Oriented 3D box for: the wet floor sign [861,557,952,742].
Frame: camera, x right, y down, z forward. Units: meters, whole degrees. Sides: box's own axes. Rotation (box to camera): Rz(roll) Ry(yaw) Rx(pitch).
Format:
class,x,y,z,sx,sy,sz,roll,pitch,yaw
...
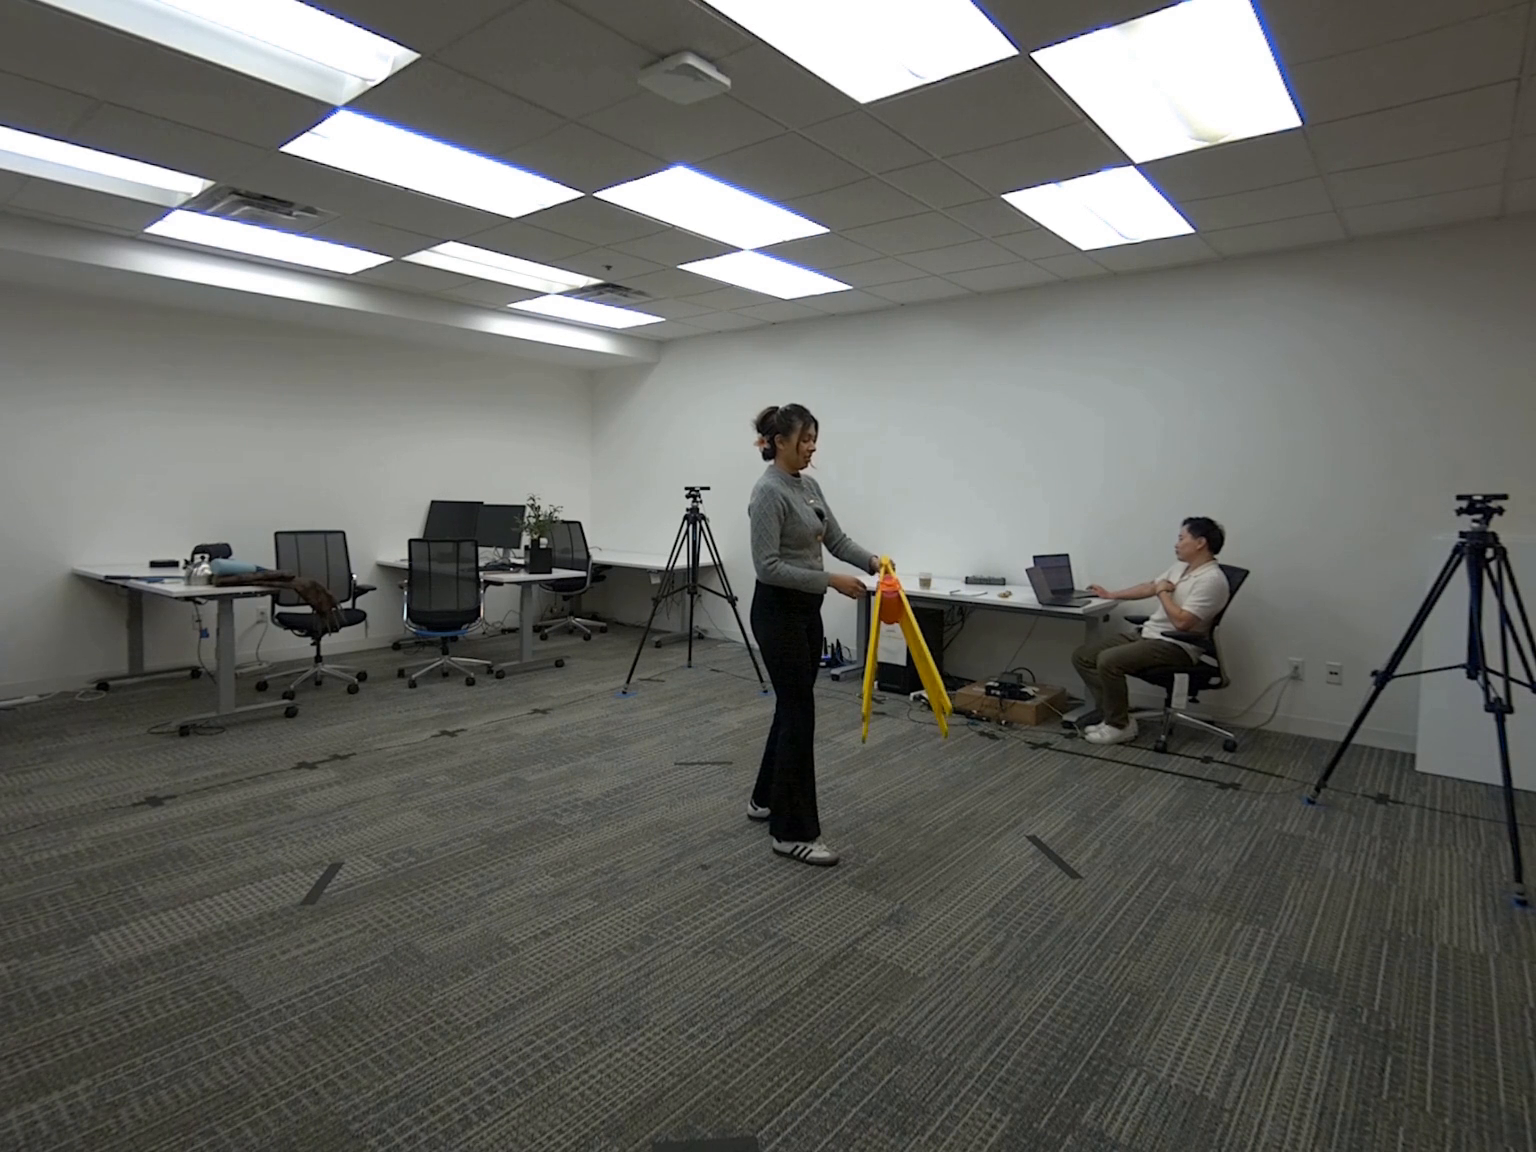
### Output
class,x,y,z,sx,sy,sz,roll,pitch,yaw
wet floor sign,0.457,0.240,3.084,0.292,0.663,0.273,-5,-32,6
